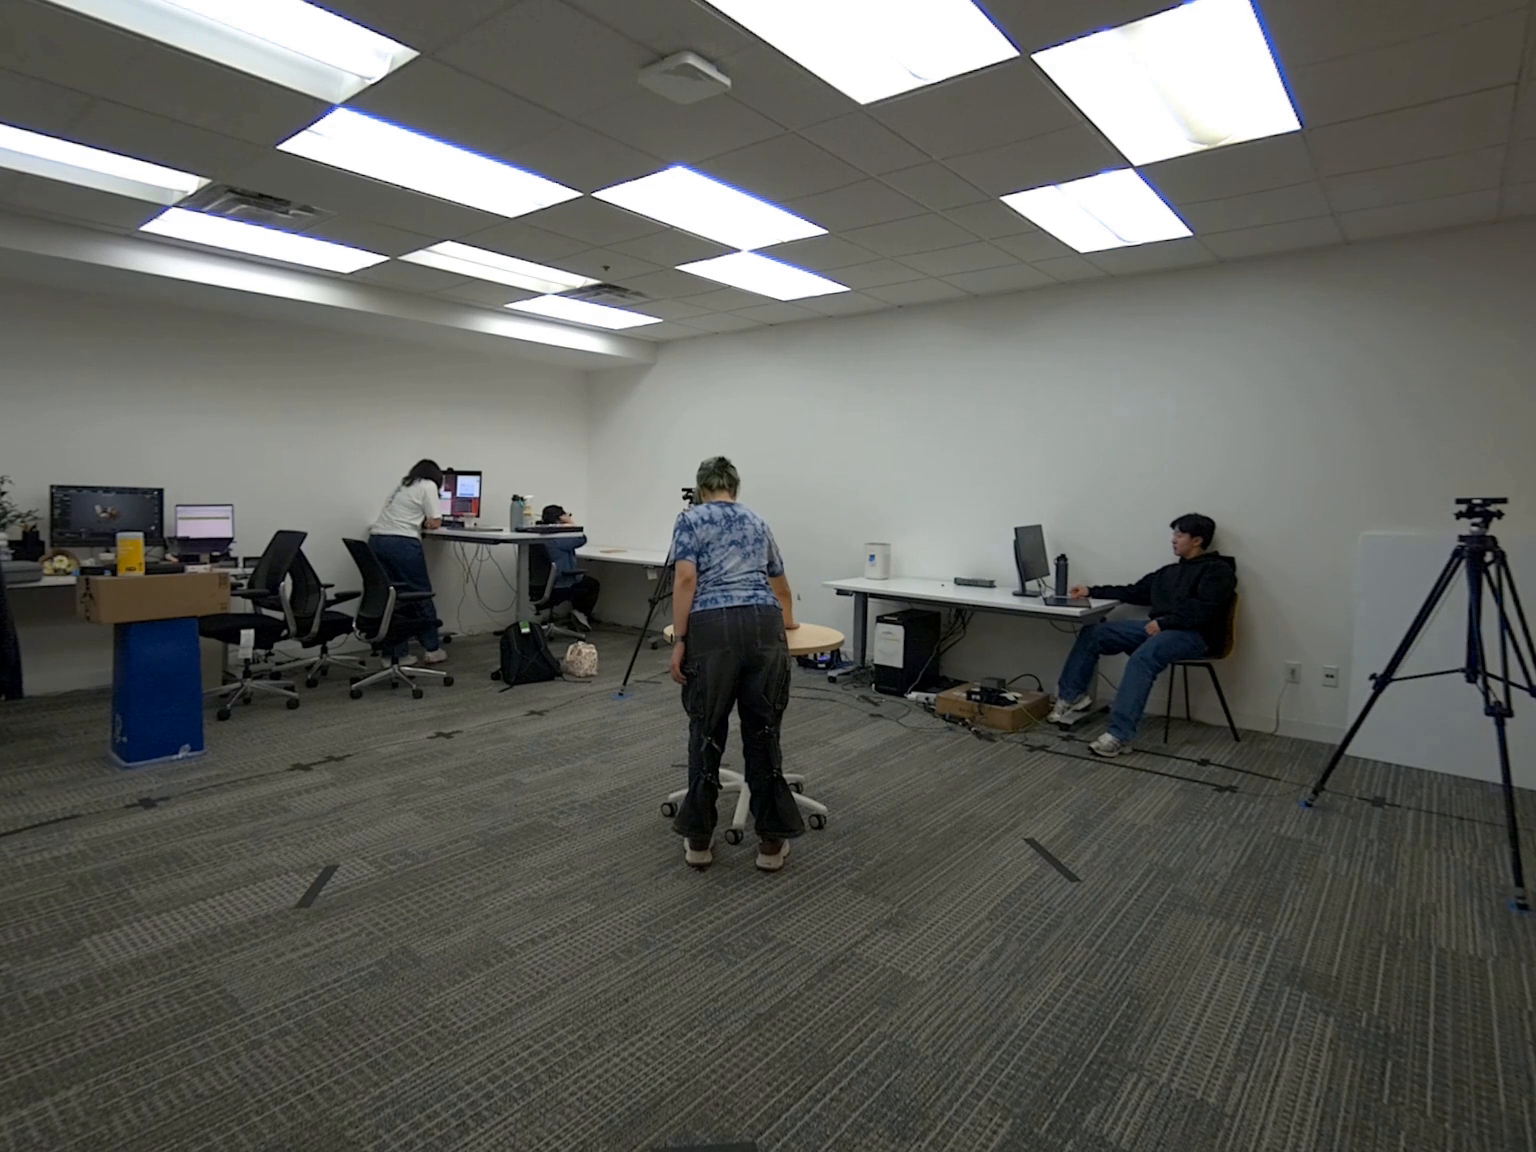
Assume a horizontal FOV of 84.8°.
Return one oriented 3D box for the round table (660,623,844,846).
[{"bbox_3d":[-0.071,0.625,3.628,0.784,0.784,0.789,1,4,-2],"label":"round table"}]
